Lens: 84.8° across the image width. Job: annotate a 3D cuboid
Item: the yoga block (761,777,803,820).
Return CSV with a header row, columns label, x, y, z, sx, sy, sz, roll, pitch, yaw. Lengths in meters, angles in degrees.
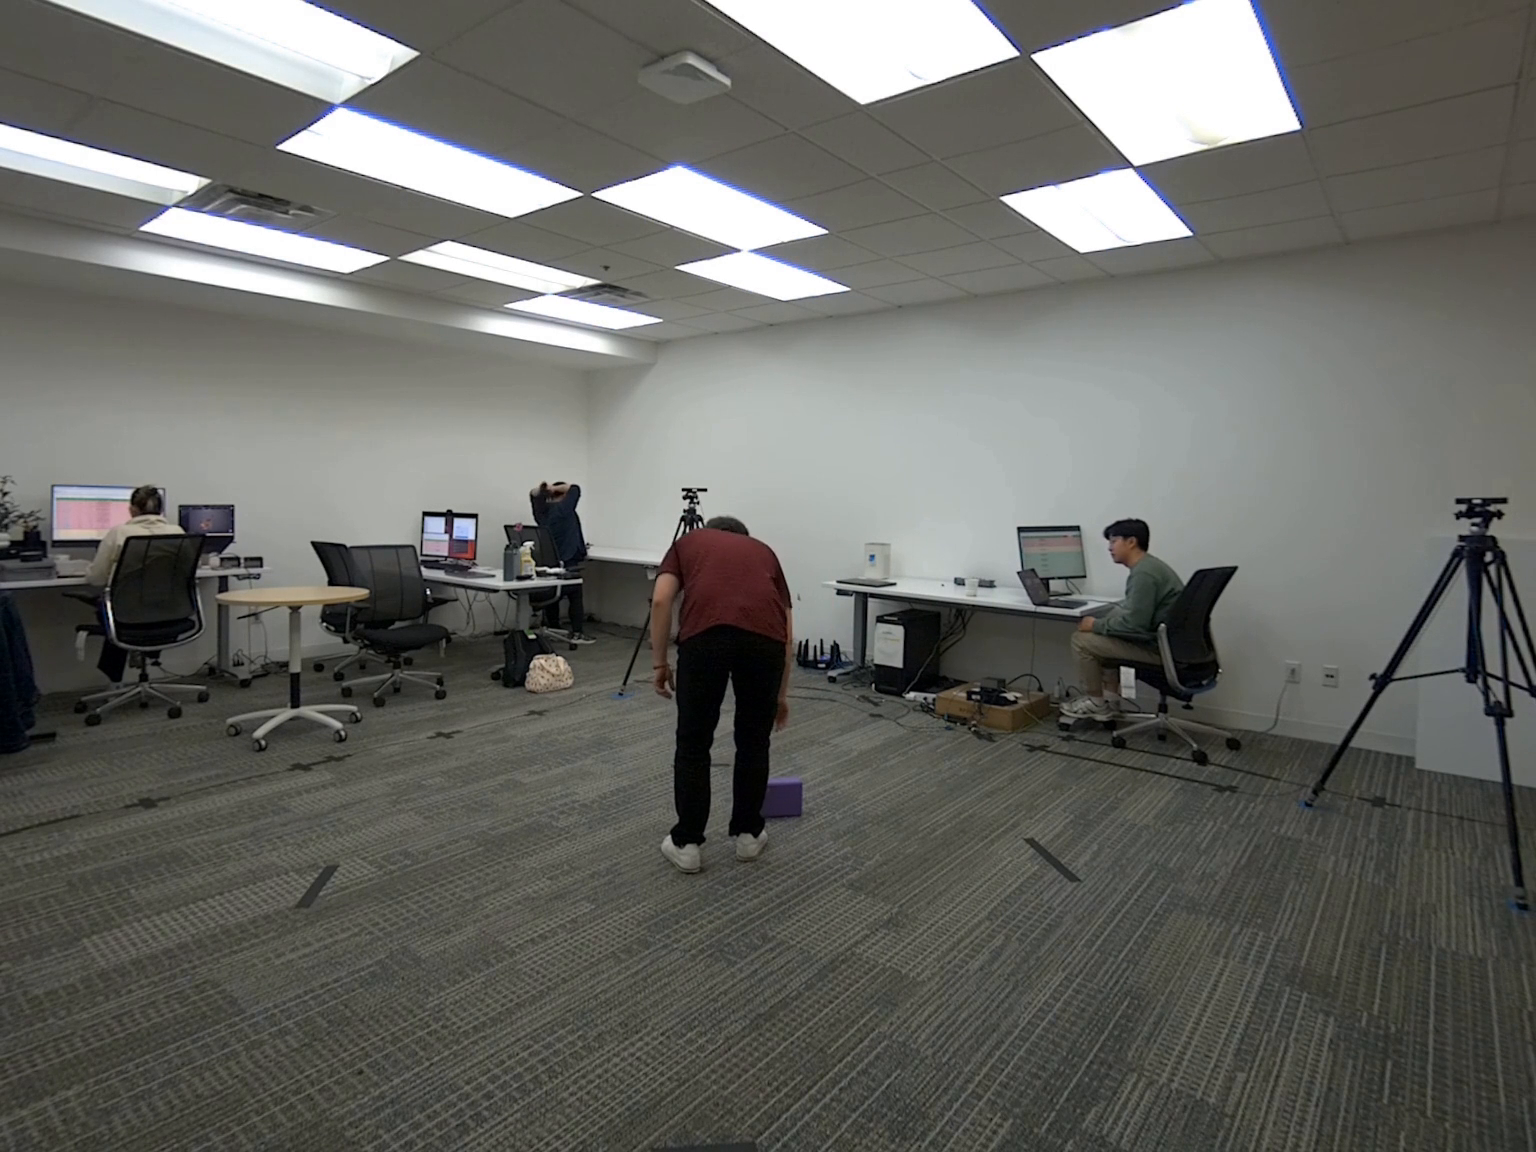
label,x,y,z,sx,sy,sz,roll,pitch,yaw
yoga block,0.027,0.945,3.653,0.227,0.149,0.077,-2,2,-9
